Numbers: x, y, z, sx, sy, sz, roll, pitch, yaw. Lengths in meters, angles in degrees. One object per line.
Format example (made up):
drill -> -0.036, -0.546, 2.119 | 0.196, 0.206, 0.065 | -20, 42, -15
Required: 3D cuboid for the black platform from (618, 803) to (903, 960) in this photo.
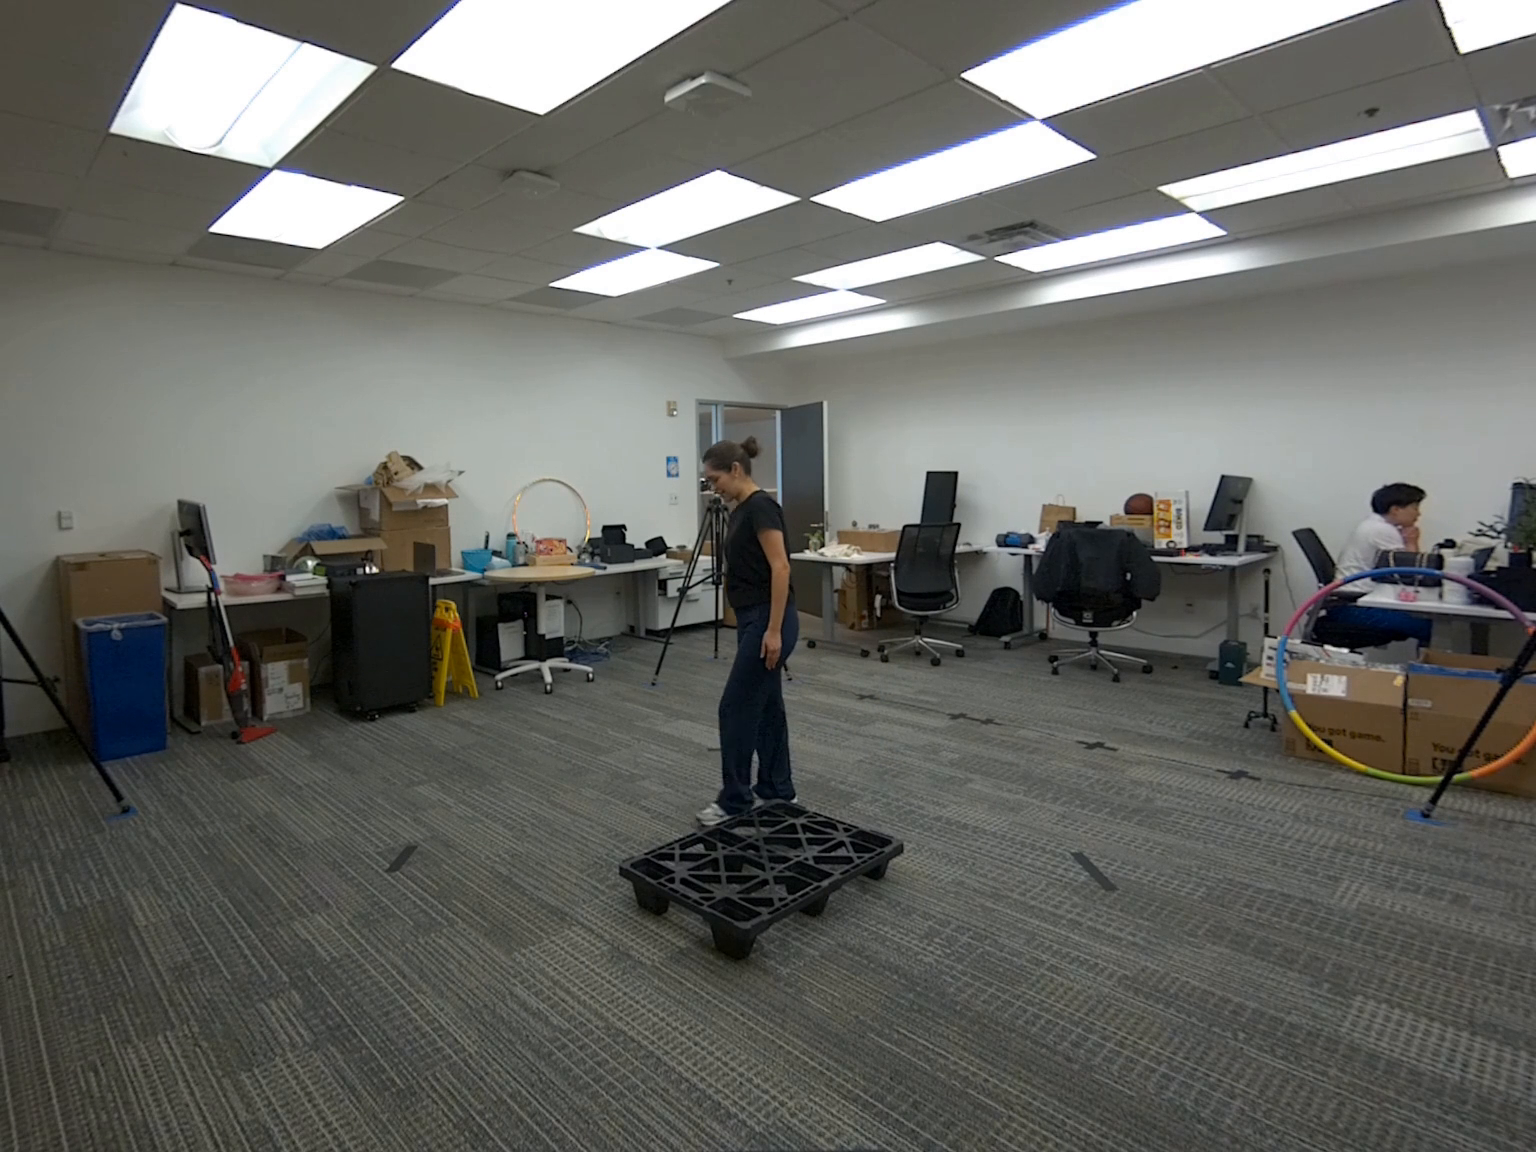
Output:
black platform -> -0.007, 1.002, 2.905 | 0.624, 0.142, 0.785 | 6, 10, 44
